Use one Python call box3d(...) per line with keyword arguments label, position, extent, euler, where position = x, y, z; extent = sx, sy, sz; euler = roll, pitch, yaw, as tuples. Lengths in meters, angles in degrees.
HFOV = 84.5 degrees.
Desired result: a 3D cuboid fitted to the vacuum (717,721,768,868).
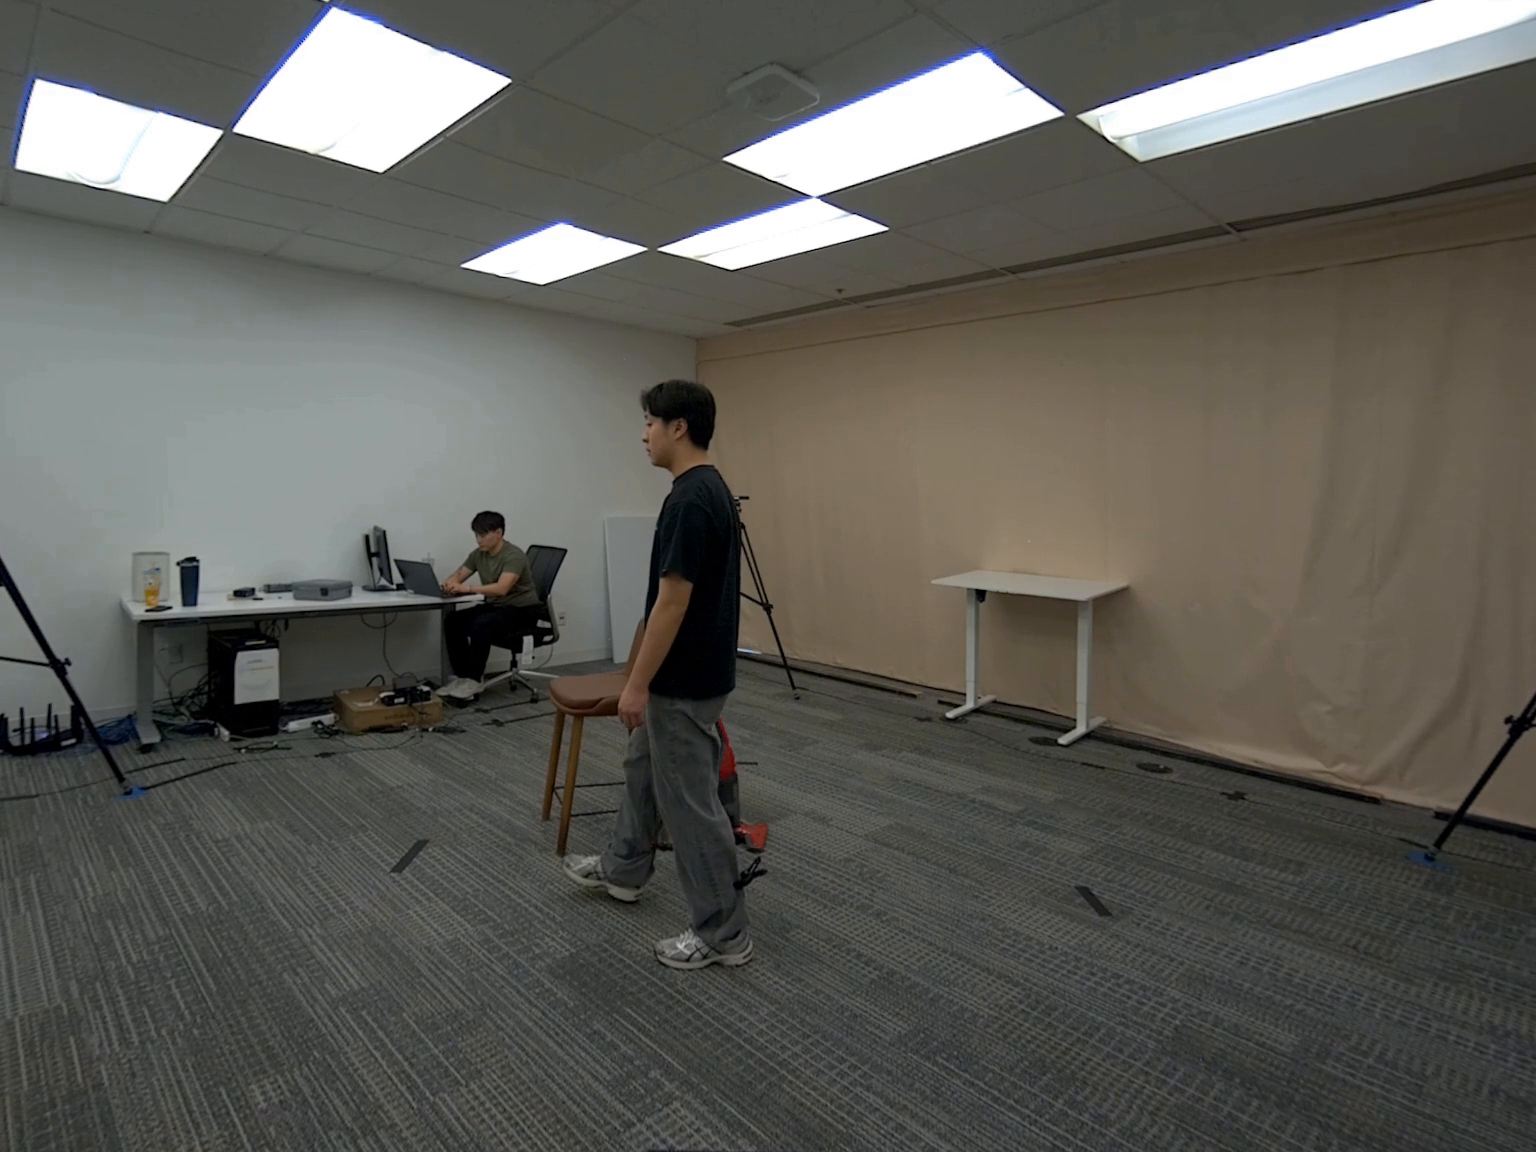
box3d(label="vacuum", position=(-0.258, 0.583, 3.445), extent=(0.144, 1.050, 0.252), euler=(-19, -1, 4))
